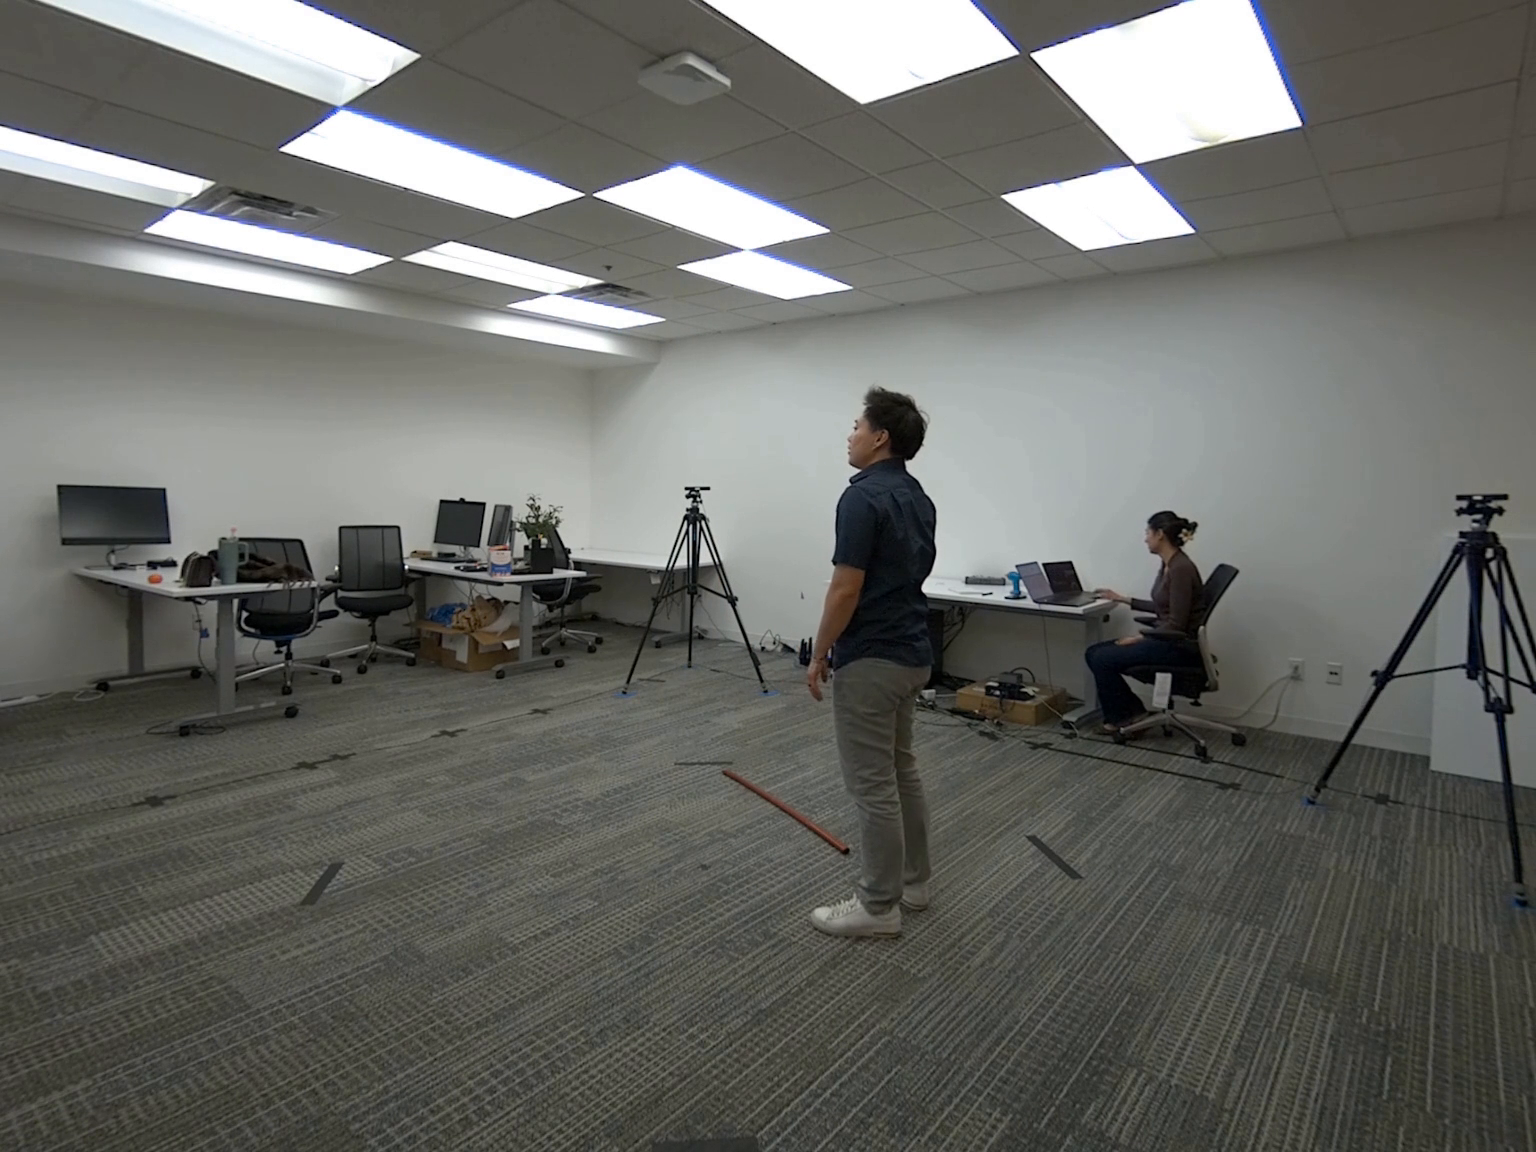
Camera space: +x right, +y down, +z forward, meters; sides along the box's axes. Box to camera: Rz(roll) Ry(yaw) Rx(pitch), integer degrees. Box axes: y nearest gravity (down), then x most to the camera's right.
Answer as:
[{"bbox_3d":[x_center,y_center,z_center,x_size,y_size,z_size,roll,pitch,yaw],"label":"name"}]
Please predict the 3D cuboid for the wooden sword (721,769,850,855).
[{"bbox_3d":[0.038,0.994,3.694,0.050,0.024,1.056,-15,12,-27],"label":"wooden sword"}]
